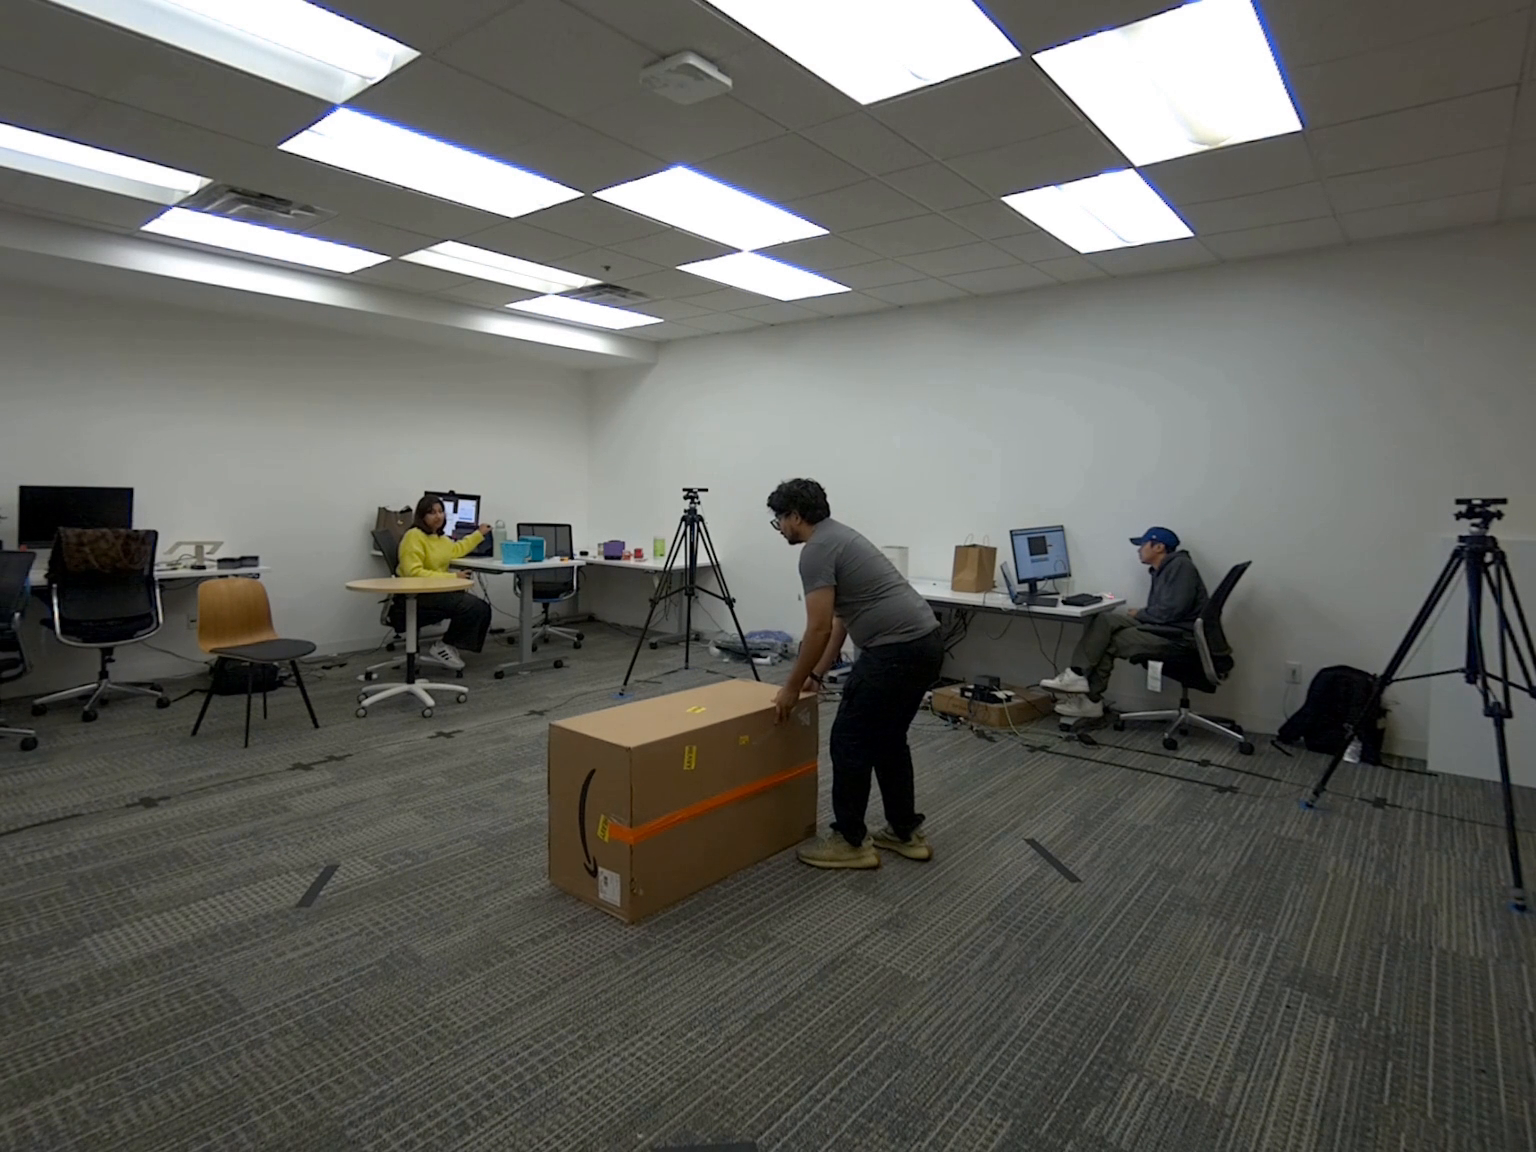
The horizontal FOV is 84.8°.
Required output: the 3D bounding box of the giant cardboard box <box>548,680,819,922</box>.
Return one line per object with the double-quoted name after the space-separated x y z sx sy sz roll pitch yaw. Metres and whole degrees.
-0.295 0.776 3.194 0.440 0.576 0.995 3 5 40 "giant cardboard box"
